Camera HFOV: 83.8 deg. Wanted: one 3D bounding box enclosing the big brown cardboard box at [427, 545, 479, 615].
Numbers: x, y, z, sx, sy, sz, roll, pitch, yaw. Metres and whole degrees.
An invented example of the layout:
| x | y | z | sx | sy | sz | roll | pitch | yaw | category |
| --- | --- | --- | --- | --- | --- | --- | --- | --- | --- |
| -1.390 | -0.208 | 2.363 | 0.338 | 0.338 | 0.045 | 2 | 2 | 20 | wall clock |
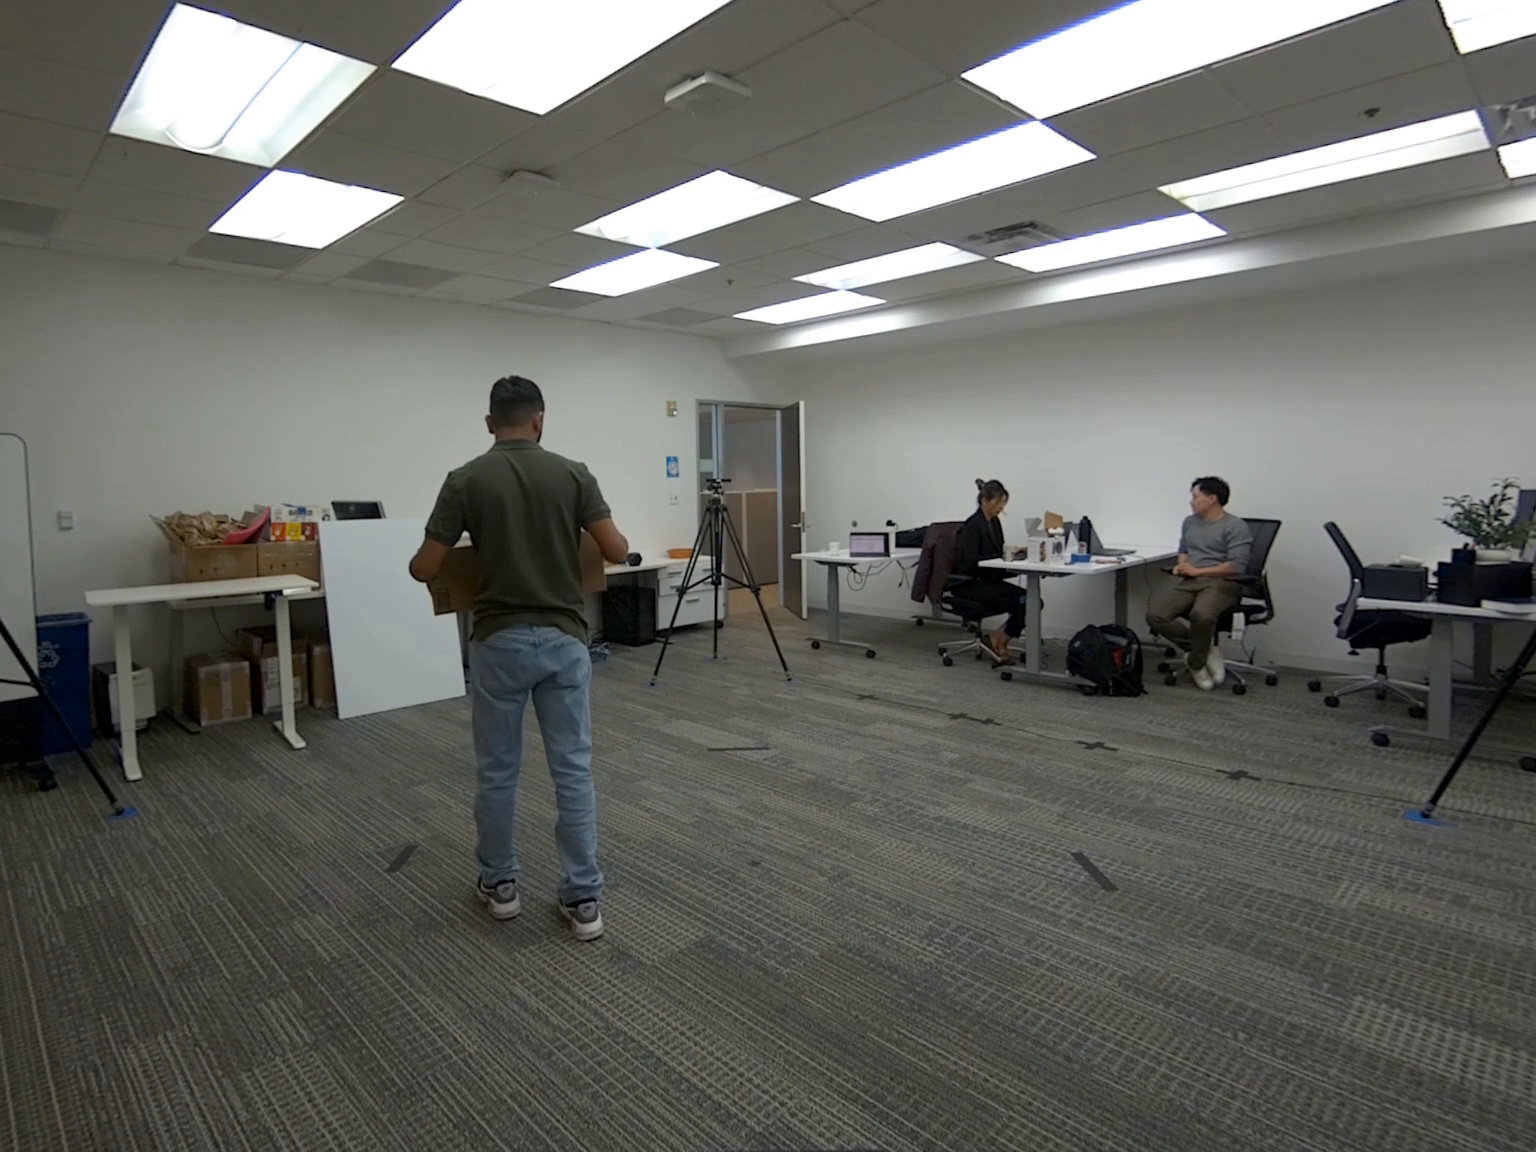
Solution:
| x | y | z | sx | sy | sz | roll | pitch | yaw | category |
| --- | --- | --- | --- | --- | --- | --- | --- | --- | --- |
| -0.890 | -0.047 | 3.012 | 0.579 | 0.231 | 0.428 | -8 | 9 | -21 | big brown cardboard box |
